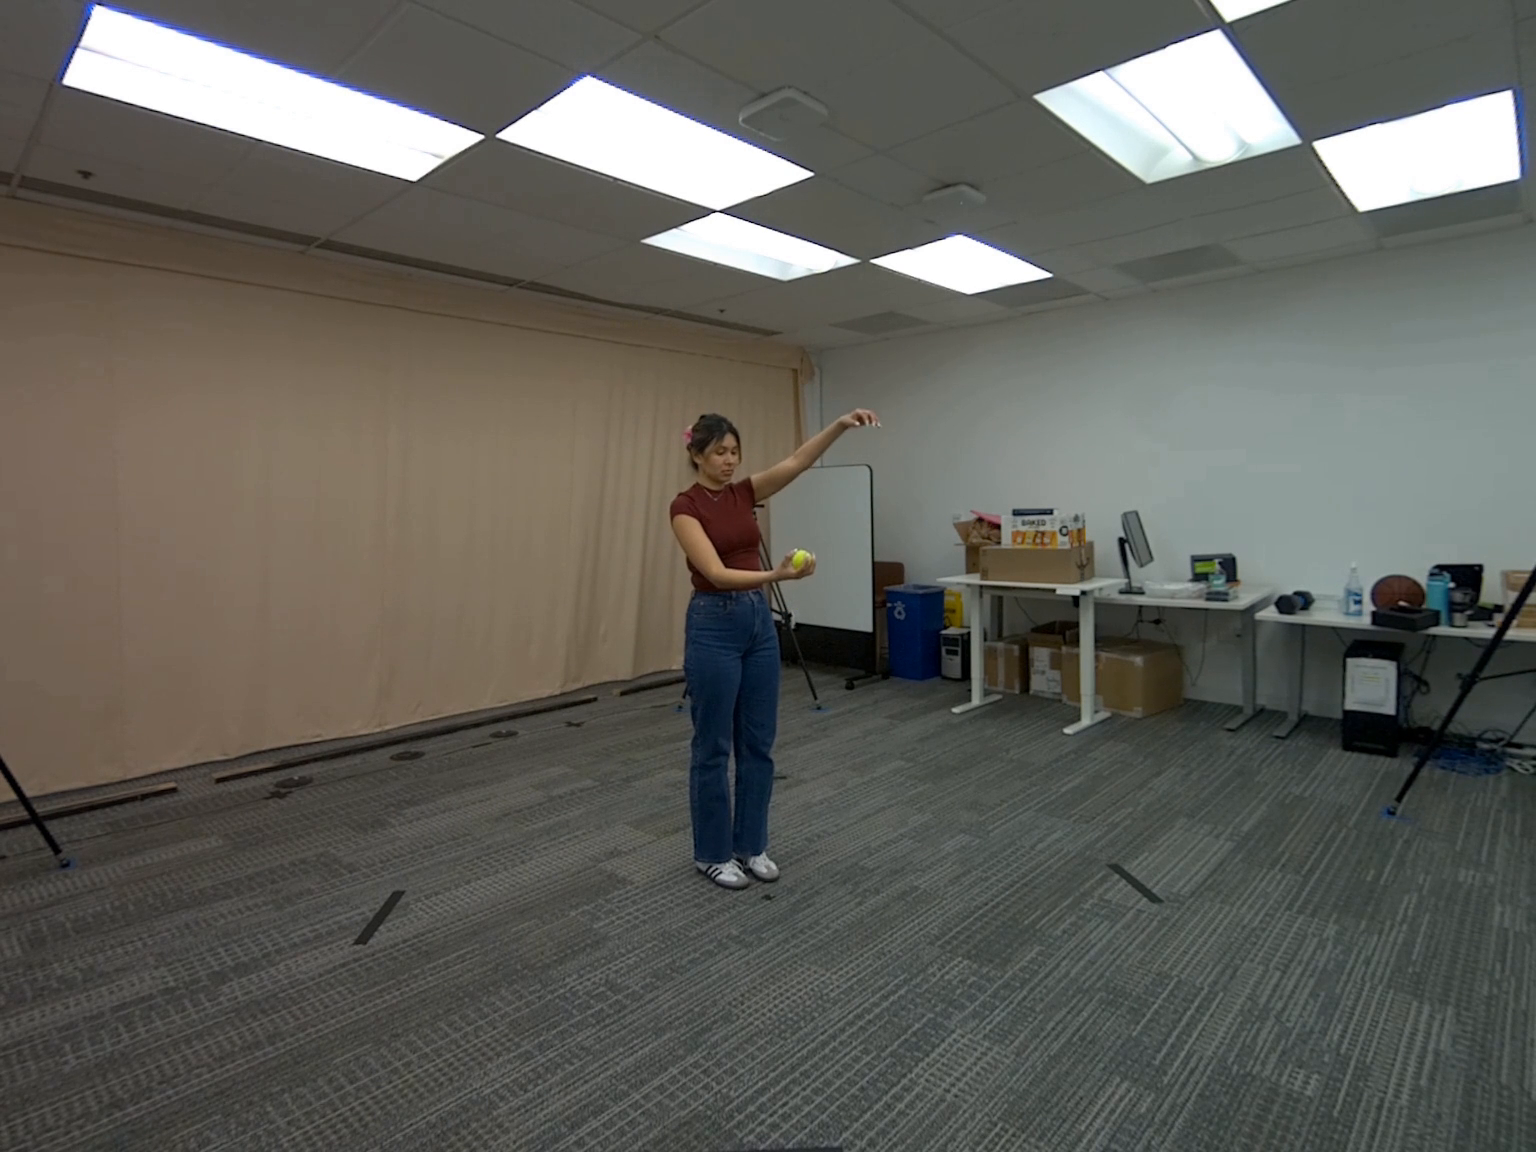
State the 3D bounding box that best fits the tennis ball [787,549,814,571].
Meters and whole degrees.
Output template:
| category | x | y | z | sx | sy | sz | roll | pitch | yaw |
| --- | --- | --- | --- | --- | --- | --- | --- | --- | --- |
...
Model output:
| category | x | y | z | sx | sy | sz | roll | pitch | yaw |
| --- | --- | --- | --- | --- | --- | --- | --- | --- | --- |
| tennis ball | 0.100 | -0.048 | 2.674 | 0.066 | 0.066 | 0.067 | -1 | 4 | -2 |
